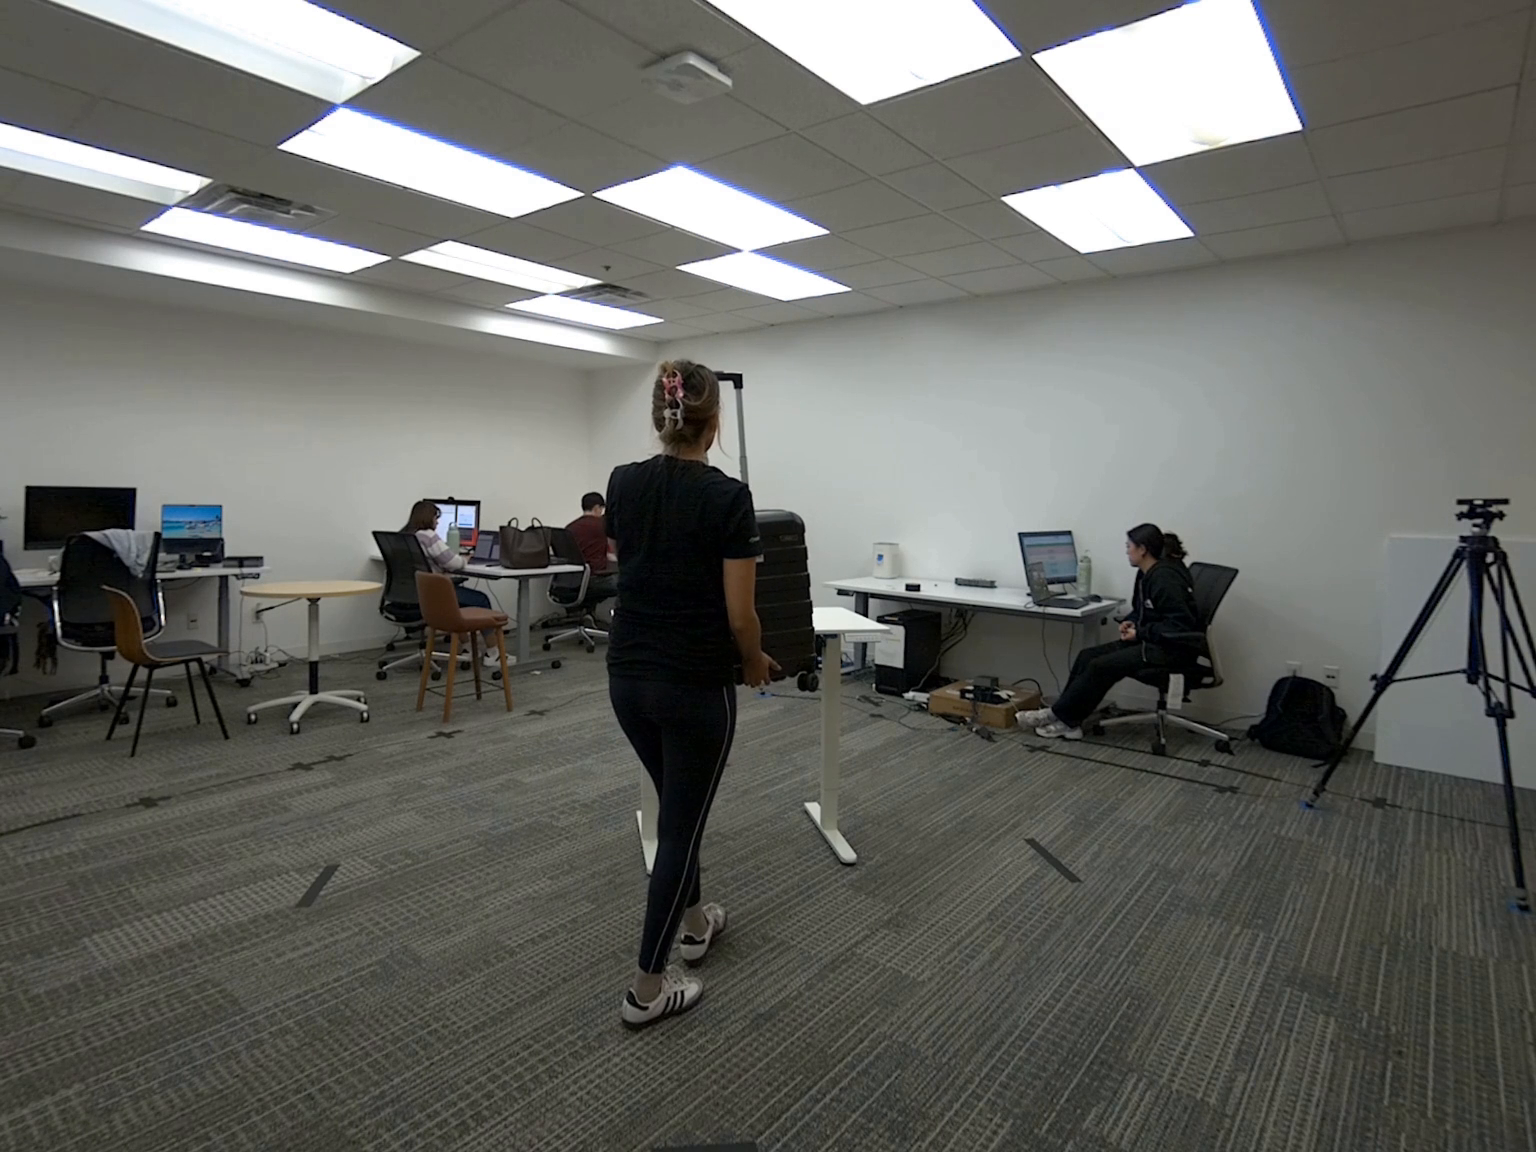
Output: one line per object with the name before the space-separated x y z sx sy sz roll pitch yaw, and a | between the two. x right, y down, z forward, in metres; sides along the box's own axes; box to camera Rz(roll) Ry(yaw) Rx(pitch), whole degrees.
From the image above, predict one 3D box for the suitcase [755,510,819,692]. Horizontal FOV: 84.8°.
suitcase | -0.081 -0.139 2.554 0.377 0.976 0.262 -4 3 -18
